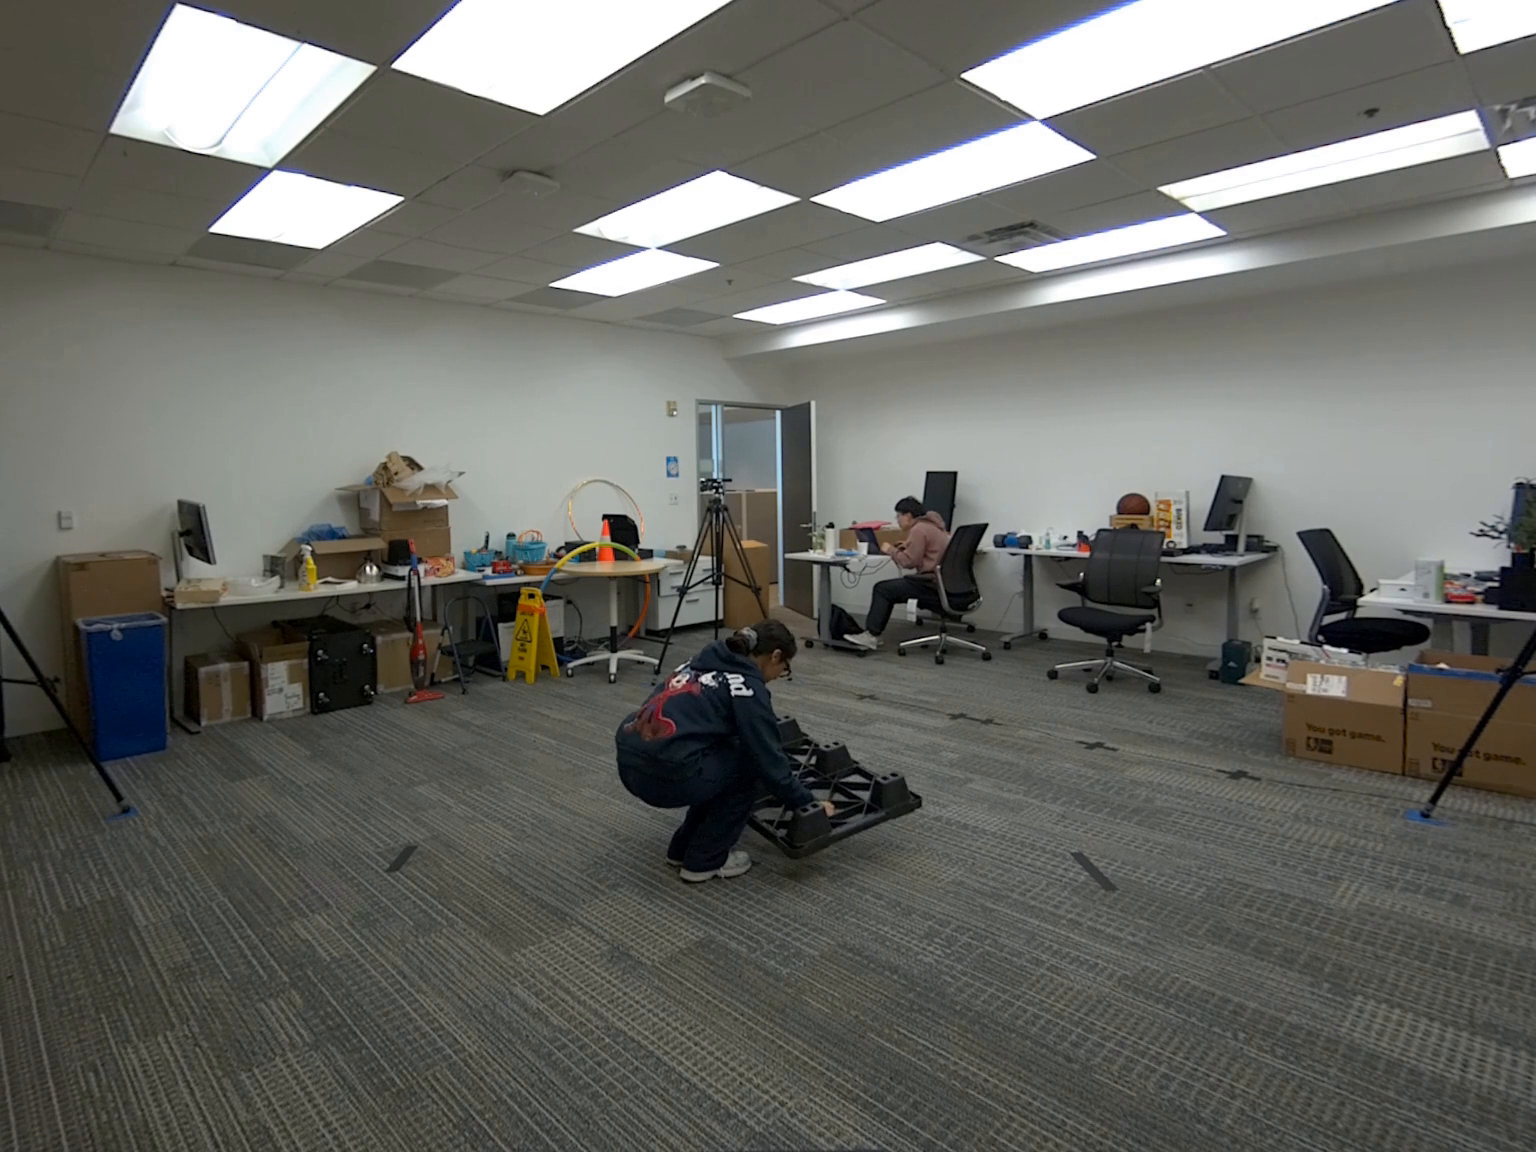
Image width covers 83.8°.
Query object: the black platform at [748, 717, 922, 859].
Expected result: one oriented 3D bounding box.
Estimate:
[{"bbox_3d":[0.103,0.773,3.354,0.593,0.142,0.831,-12,15,-32],"label":"black platform"}]
